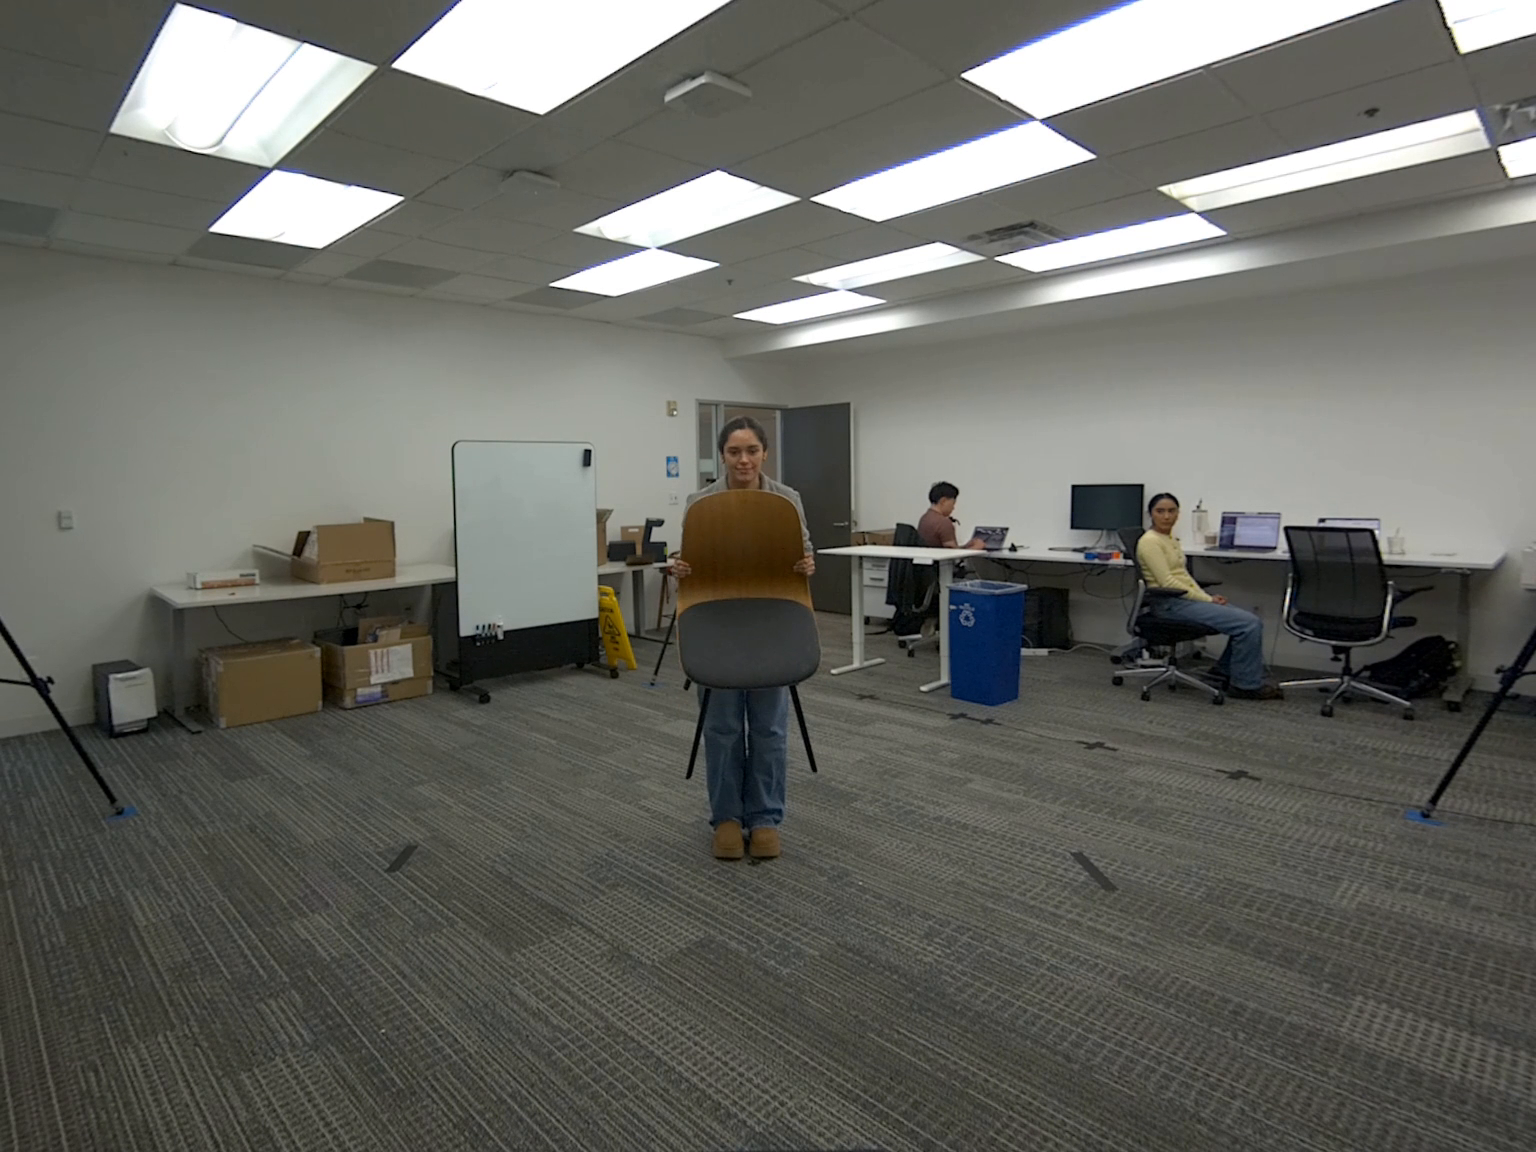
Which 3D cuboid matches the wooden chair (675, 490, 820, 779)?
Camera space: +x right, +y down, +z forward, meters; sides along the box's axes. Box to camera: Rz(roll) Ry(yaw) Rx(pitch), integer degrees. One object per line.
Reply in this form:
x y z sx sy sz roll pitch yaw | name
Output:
-0.069 0.226 2.892 0.476 0.857 0.537 -2 29 -4 | wooden chair
